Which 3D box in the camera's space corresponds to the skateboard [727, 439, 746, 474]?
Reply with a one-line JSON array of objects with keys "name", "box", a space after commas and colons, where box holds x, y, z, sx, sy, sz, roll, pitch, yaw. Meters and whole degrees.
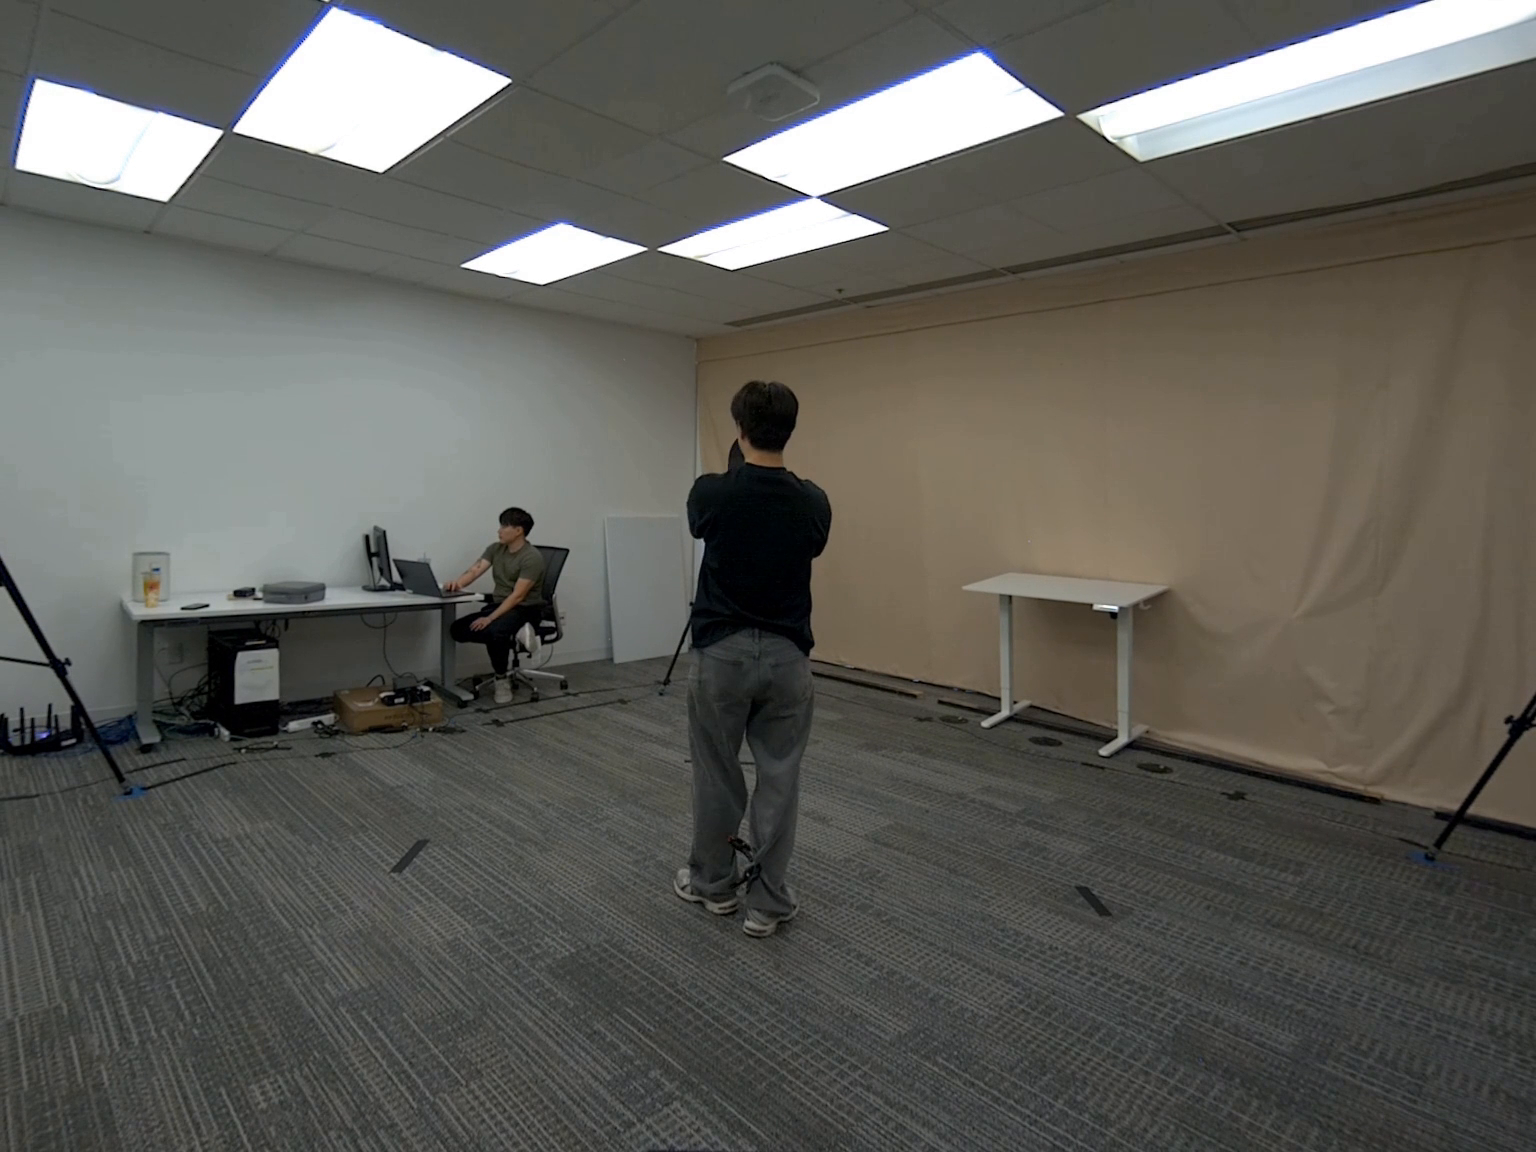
[{"name": "skateboard", "box": [-0.084, -0.165, 3.297, 0.193, 0.788, 0.110, 6, -6, -2]}]
